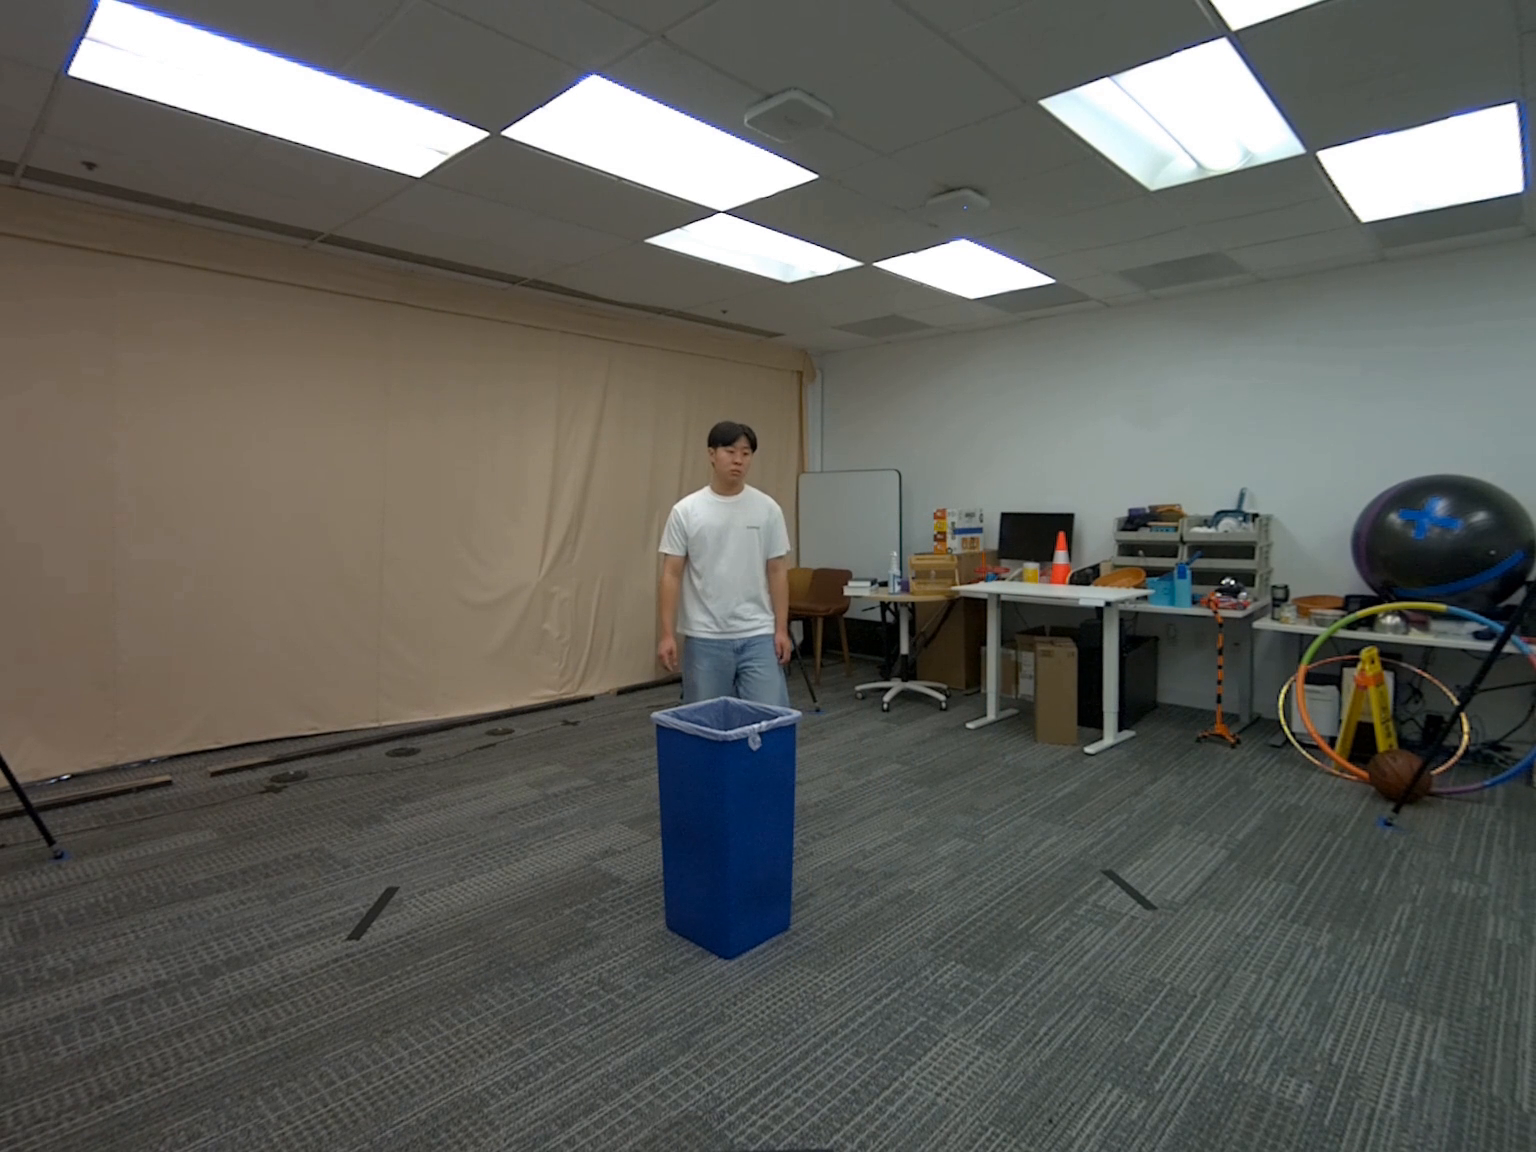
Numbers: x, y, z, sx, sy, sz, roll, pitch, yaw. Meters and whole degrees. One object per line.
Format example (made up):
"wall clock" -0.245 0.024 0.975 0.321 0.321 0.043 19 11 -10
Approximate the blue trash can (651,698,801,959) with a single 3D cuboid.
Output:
"blue trash can" -0.139 0.801 2.770 0.386 0.712 0.366 3 4 43
